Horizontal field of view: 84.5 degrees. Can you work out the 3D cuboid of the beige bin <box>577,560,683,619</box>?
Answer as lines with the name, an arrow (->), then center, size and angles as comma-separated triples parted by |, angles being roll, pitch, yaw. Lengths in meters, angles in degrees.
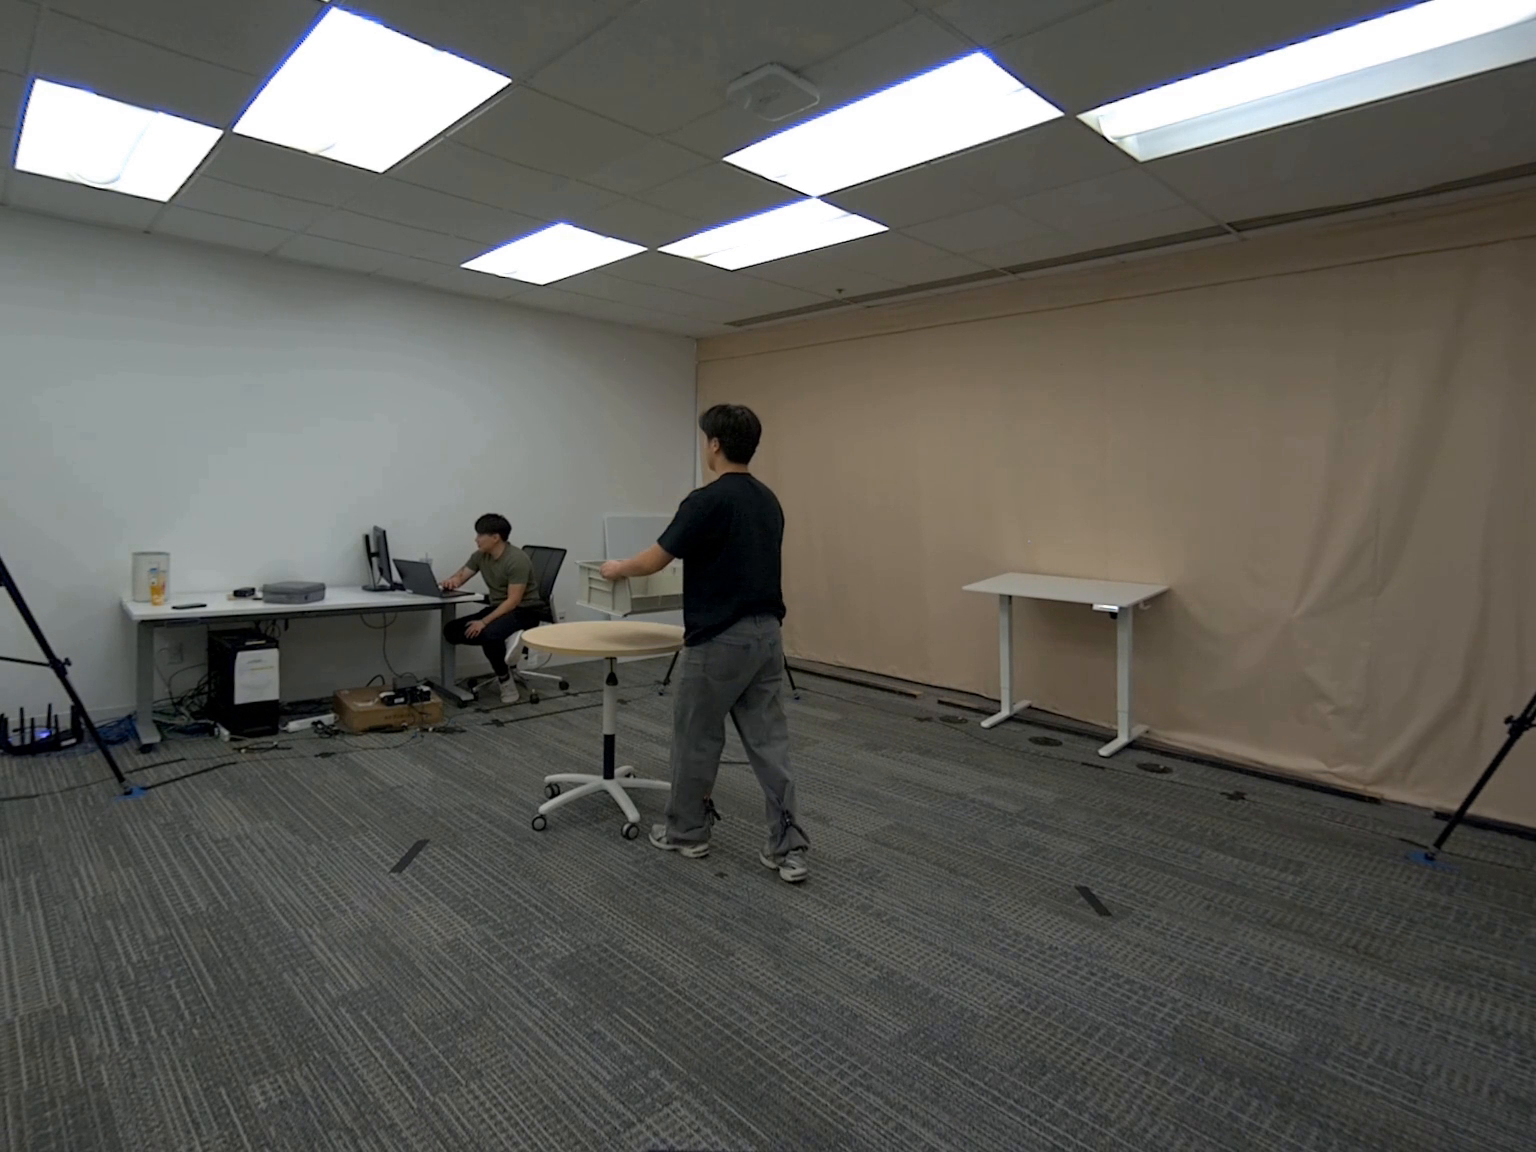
beige bin -> -0.534, 0.049, 3.552 | 0.387, 0.188, 0.413 | 9, 9, 43
